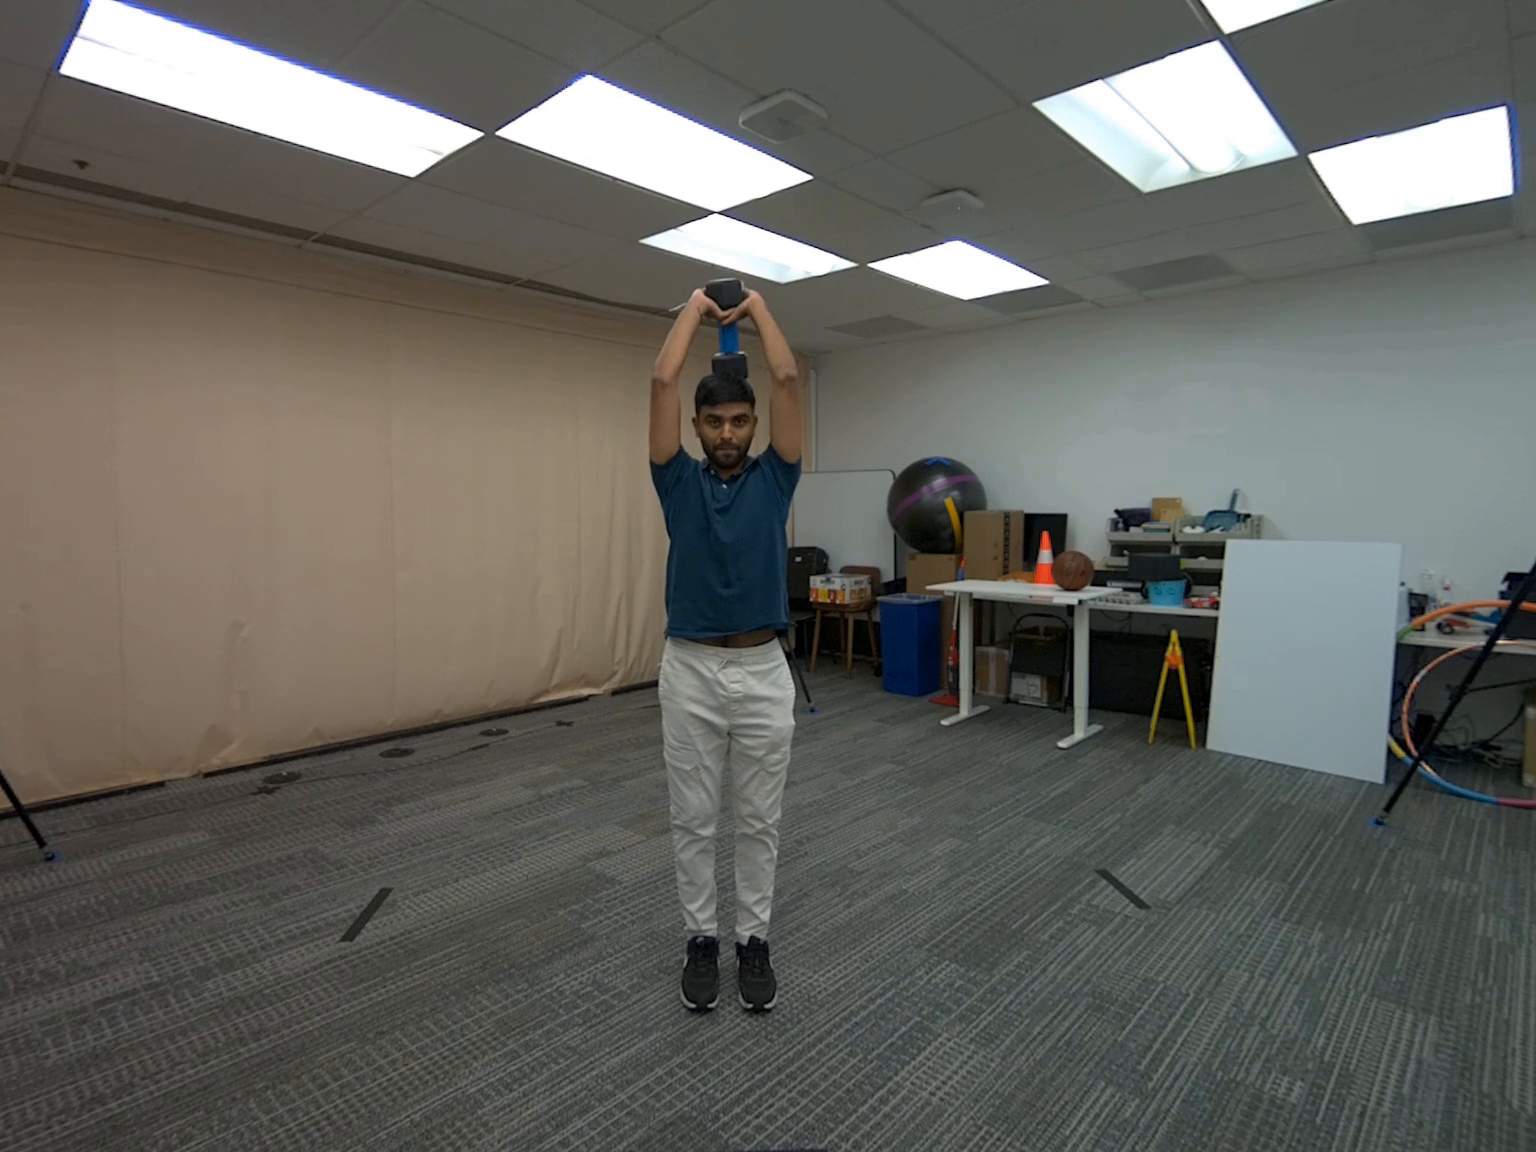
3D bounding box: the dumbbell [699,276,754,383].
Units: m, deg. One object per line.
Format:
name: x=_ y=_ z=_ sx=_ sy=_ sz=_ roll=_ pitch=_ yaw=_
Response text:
dumbbell: x=-0.124 y=-0.722 z=2.498 sx=0.109 sy=0.289 sz=0.125 roll=-9 pitch=20 yaw=0
